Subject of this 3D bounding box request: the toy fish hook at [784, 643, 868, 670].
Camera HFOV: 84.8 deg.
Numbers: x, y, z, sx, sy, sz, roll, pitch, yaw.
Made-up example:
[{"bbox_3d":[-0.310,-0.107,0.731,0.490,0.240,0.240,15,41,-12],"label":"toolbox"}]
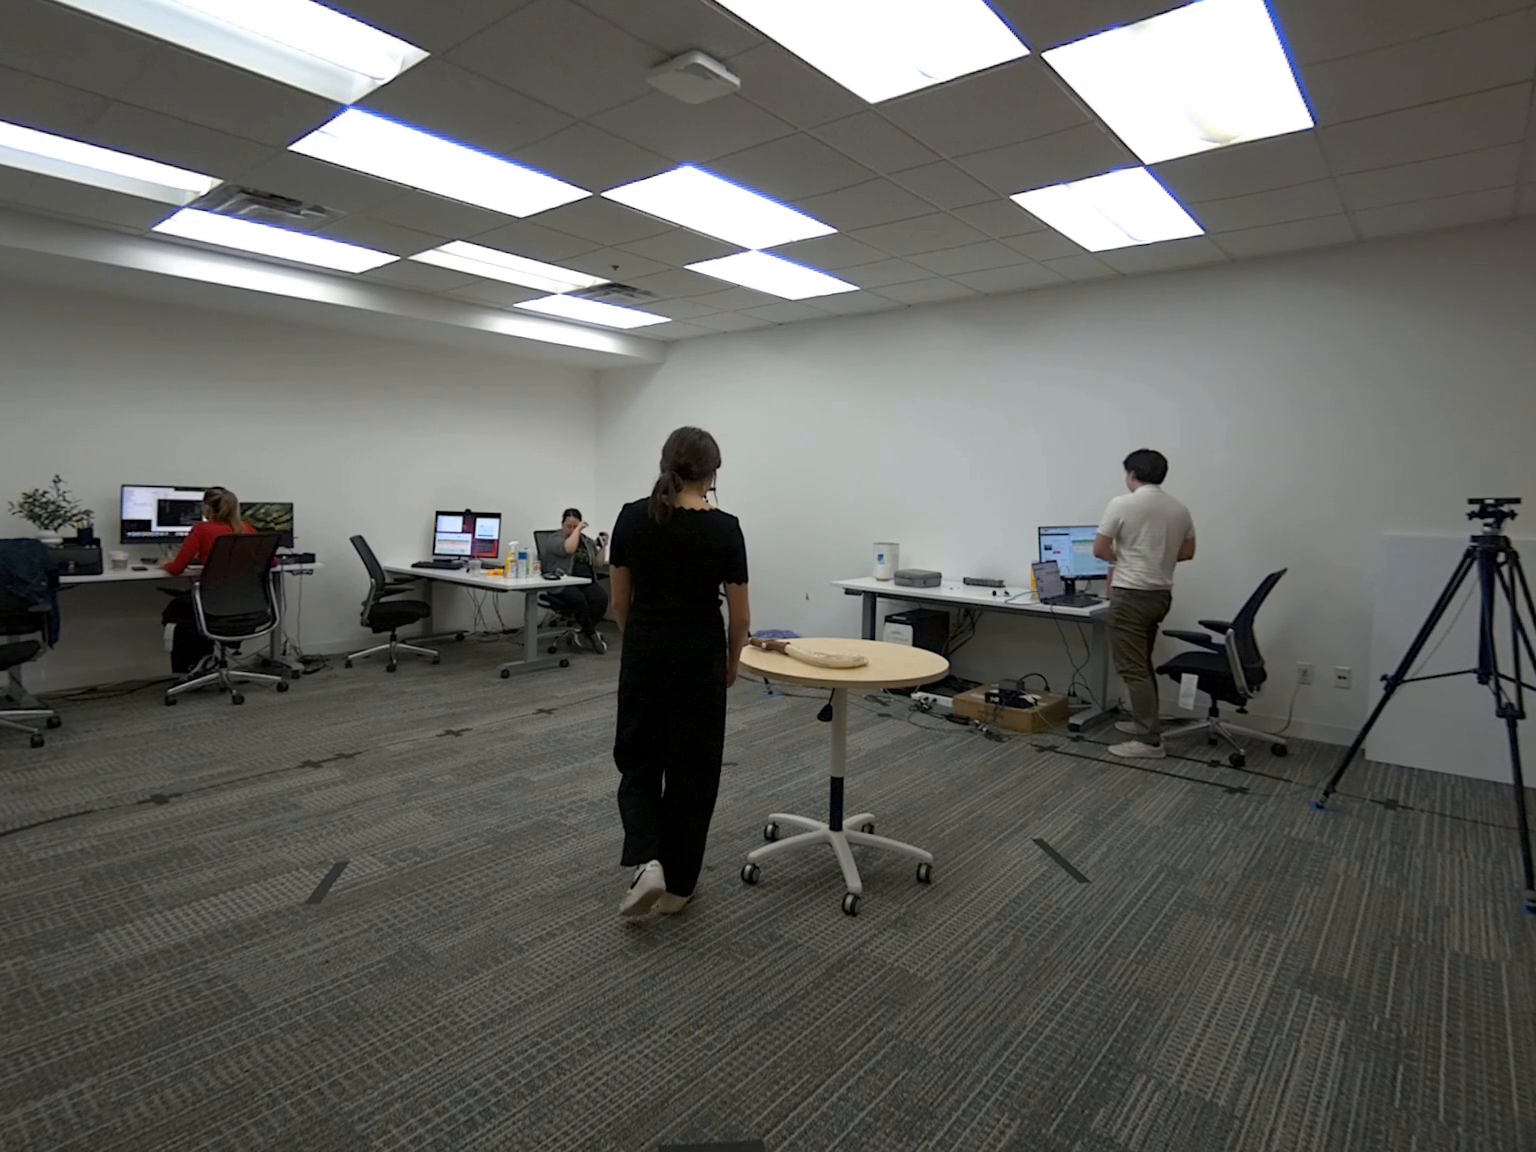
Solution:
[{"bbox_3d":[0.135,0.284,3.118,0.217,0.048,0.524,8,0,-42],"label":"toy fish hook"}]
